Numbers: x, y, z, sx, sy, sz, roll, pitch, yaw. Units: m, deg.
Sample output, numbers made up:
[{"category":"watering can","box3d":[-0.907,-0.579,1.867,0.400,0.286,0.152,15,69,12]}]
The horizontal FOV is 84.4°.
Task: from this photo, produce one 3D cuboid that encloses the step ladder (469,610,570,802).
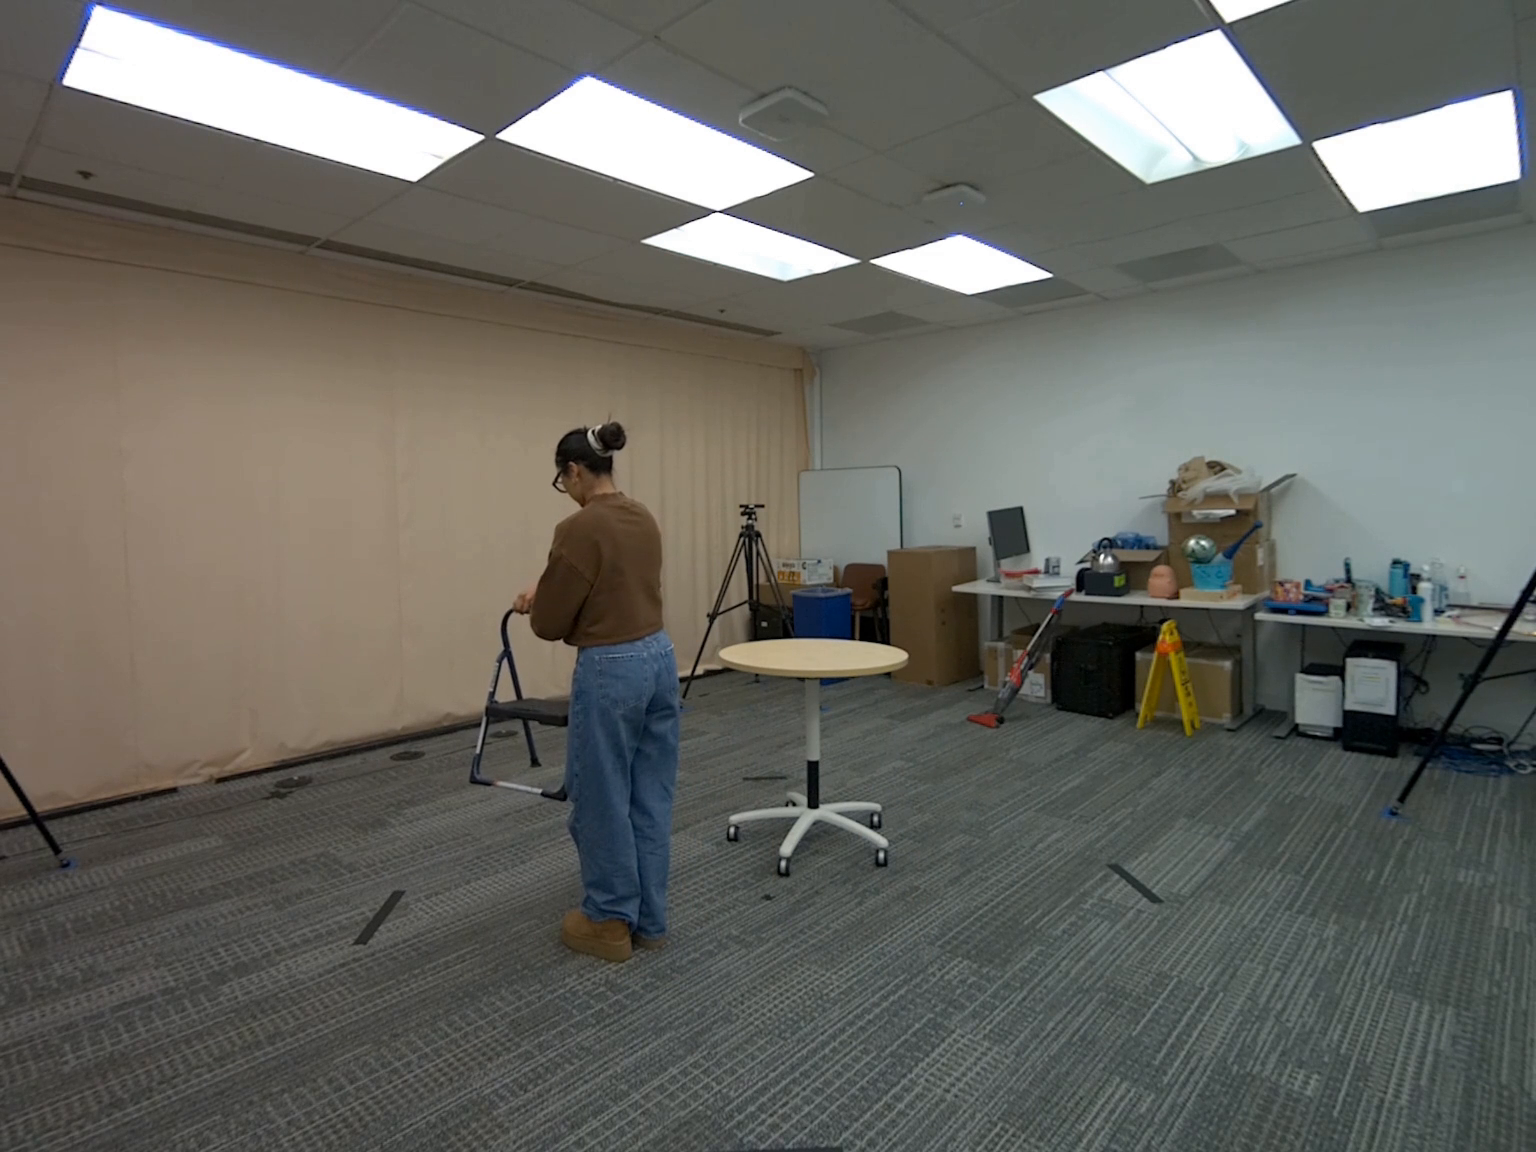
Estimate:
[{"category":"step ladder","box3d":[-0.746,0.412,2.876,0.442,0.607,0.339,0,-3,28]}]
